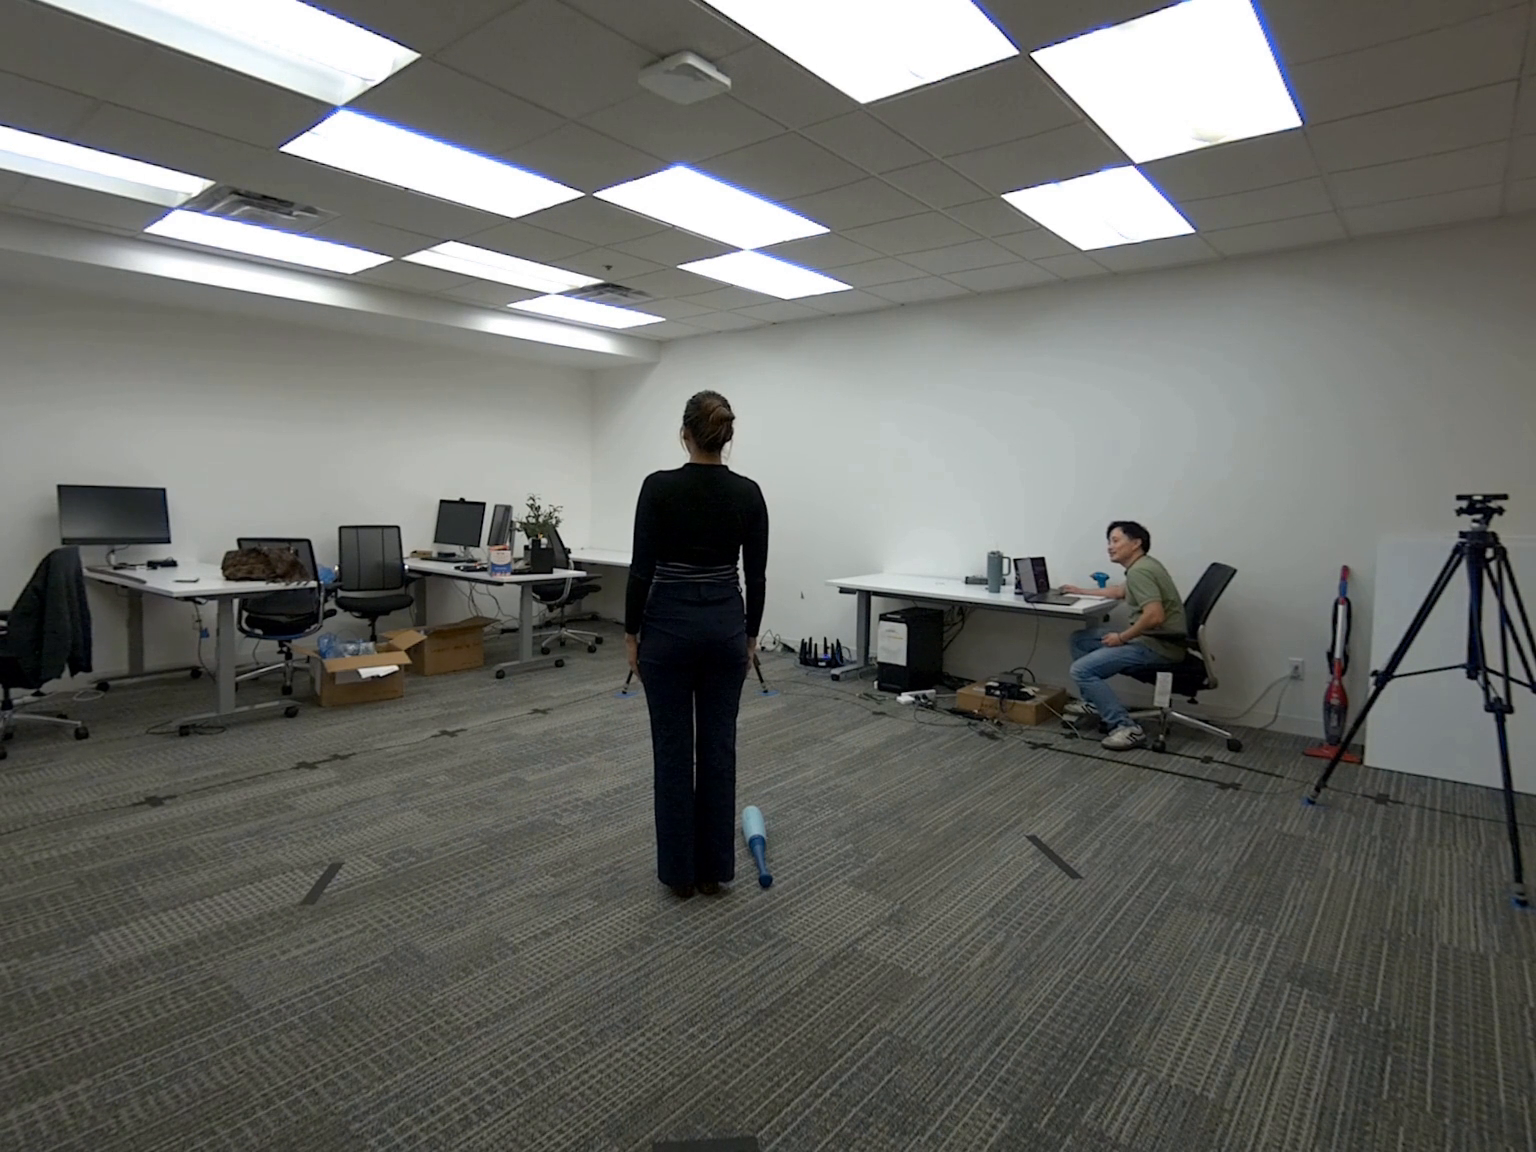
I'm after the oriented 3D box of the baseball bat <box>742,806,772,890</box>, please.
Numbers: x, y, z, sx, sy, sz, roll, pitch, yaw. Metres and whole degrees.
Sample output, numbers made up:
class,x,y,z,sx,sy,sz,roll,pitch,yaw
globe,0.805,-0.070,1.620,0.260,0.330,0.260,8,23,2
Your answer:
class,x,y,z,sx,sy,sz,roll,pitch,yaw
baseball bat,-0.041,1.024,3.227,0.088,0.088,0.551,0,10,-8
